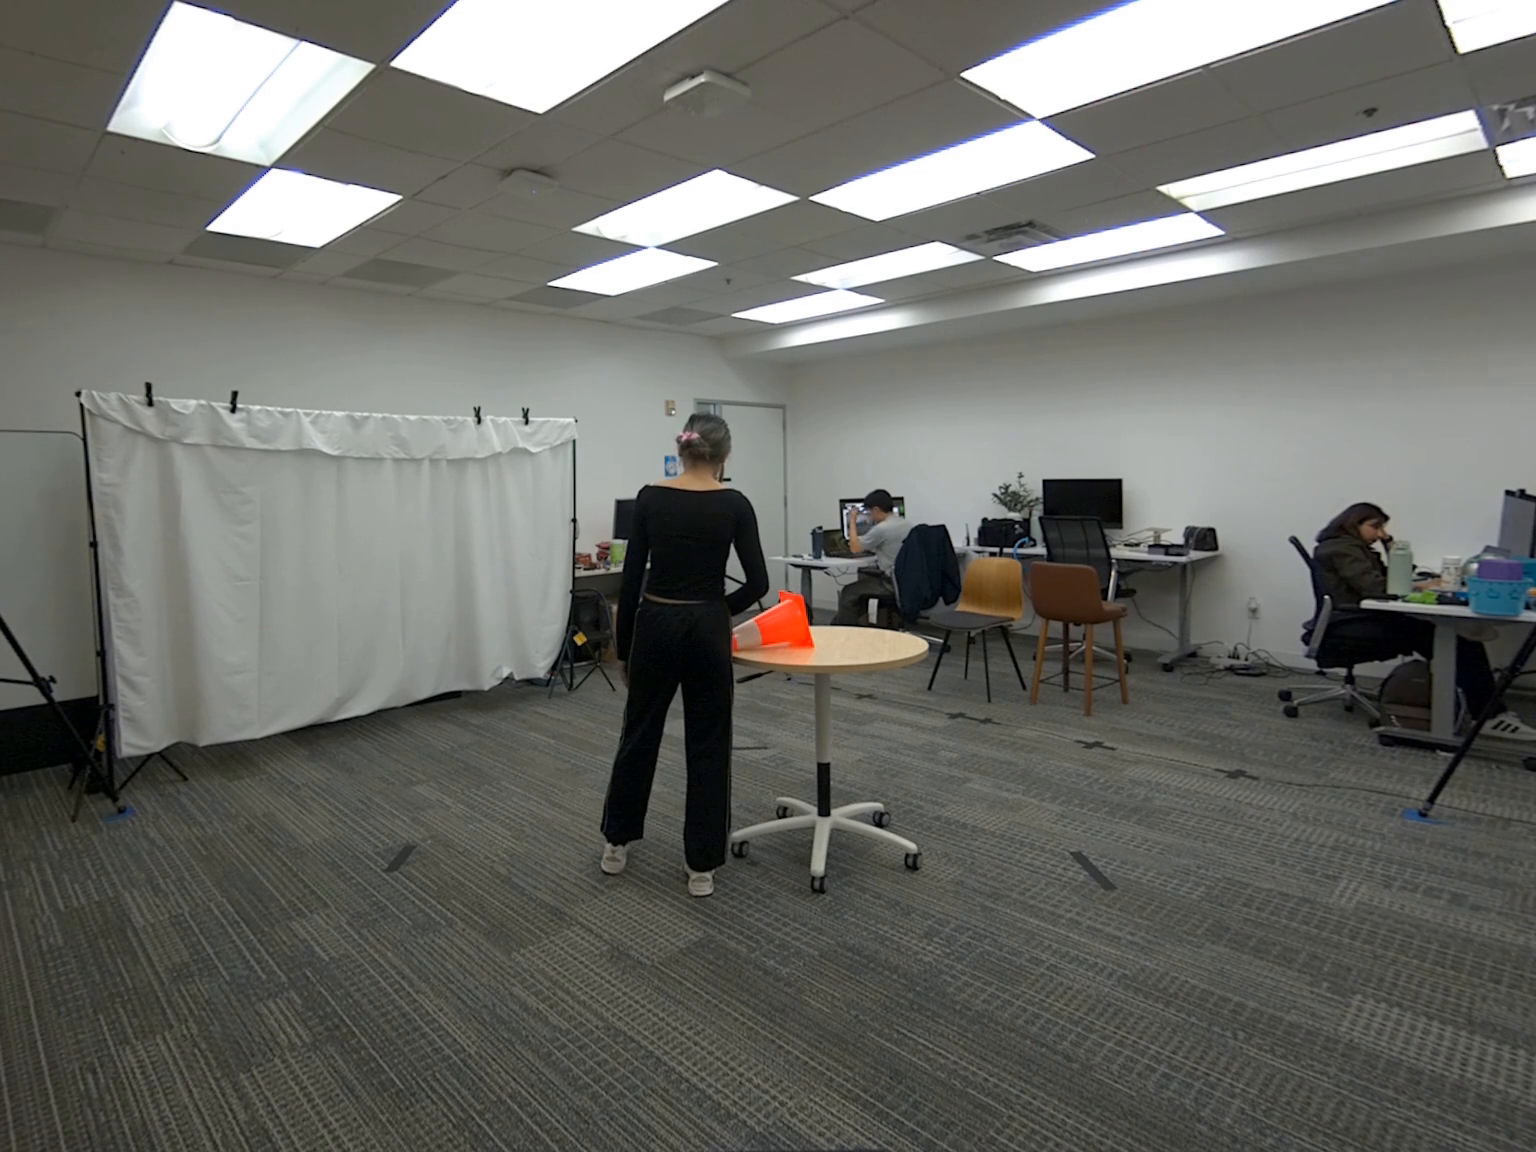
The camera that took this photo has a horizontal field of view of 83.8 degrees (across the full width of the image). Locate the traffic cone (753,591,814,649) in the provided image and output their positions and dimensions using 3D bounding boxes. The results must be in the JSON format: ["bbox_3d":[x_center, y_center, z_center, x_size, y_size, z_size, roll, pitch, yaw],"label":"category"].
[{"bbox_3d":[-0.064,0.210,3.070,0.379,0.202,0.209,-17,8,-16],"label":"traffic cone"}]
